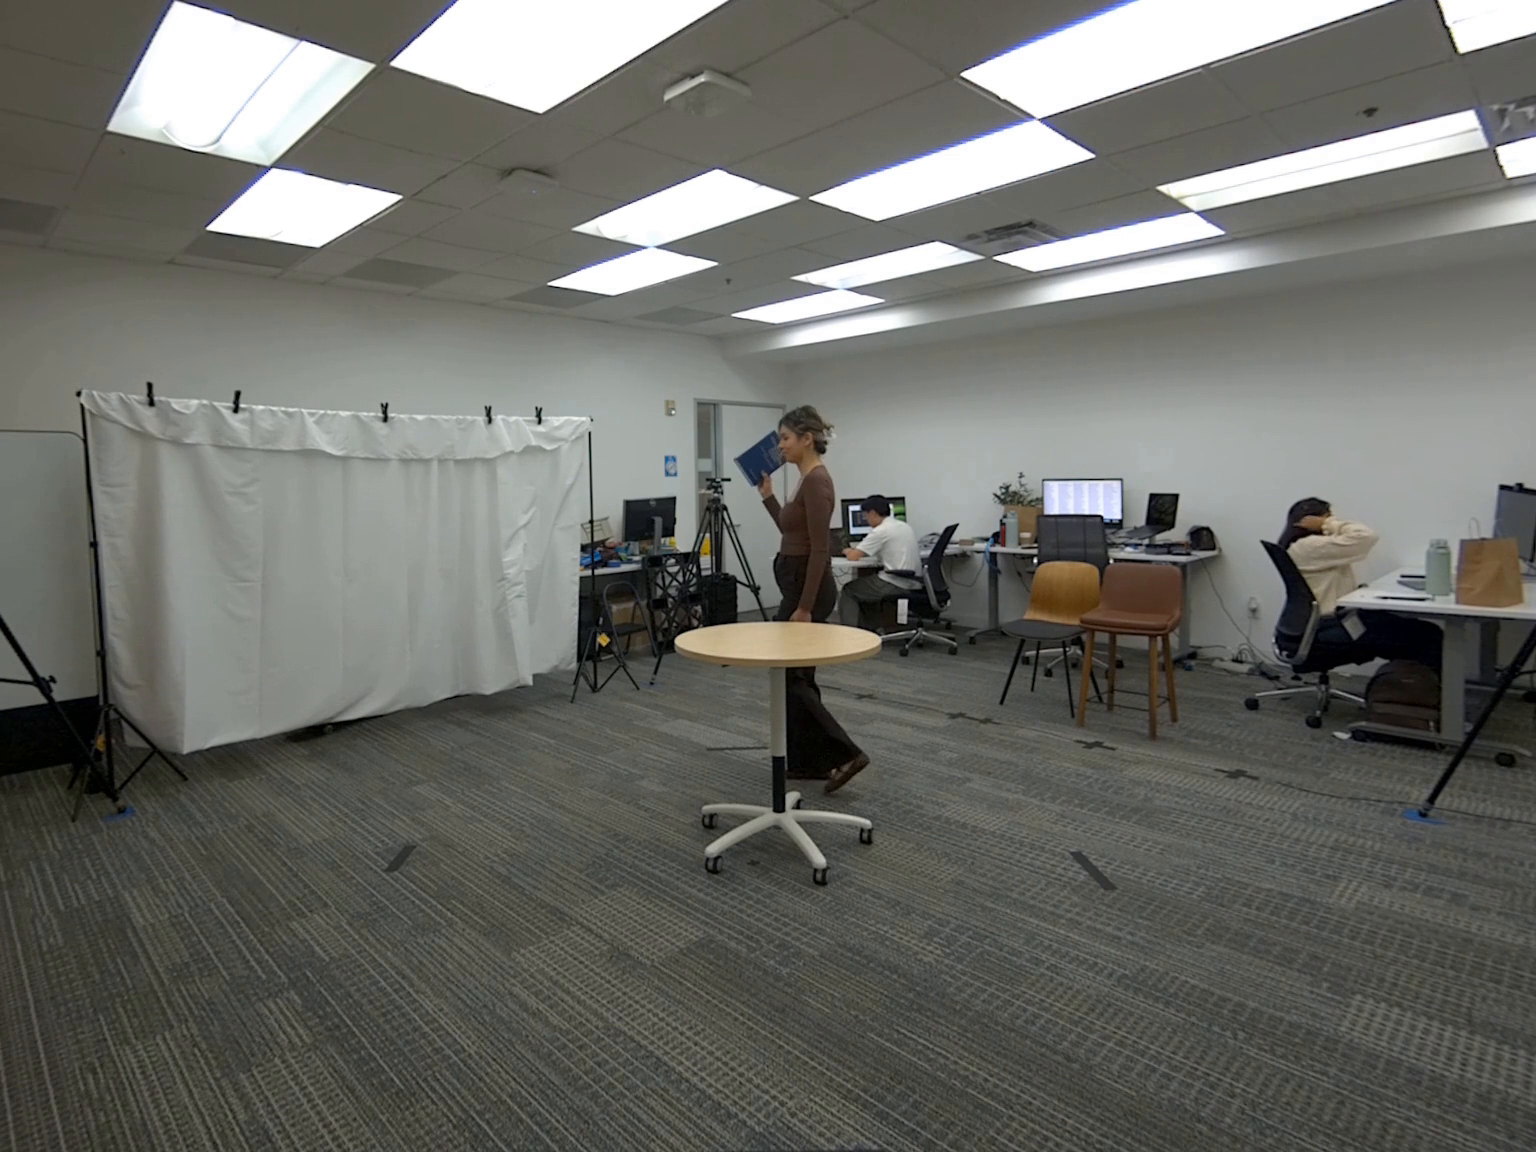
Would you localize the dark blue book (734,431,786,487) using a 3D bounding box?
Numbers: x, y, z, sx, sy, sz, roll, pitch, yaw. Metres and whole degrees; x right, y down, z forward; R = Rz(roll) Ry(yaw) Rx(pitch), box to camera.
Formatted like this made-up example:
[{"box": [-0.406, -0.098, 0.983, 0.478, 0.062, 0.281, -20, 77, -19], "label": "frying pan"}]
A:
[{"box": [-0.016, -0.561, 4.070, 0.245, 0.162, 0.046, -38, 8, -7], "label": "dark blue book"}]
